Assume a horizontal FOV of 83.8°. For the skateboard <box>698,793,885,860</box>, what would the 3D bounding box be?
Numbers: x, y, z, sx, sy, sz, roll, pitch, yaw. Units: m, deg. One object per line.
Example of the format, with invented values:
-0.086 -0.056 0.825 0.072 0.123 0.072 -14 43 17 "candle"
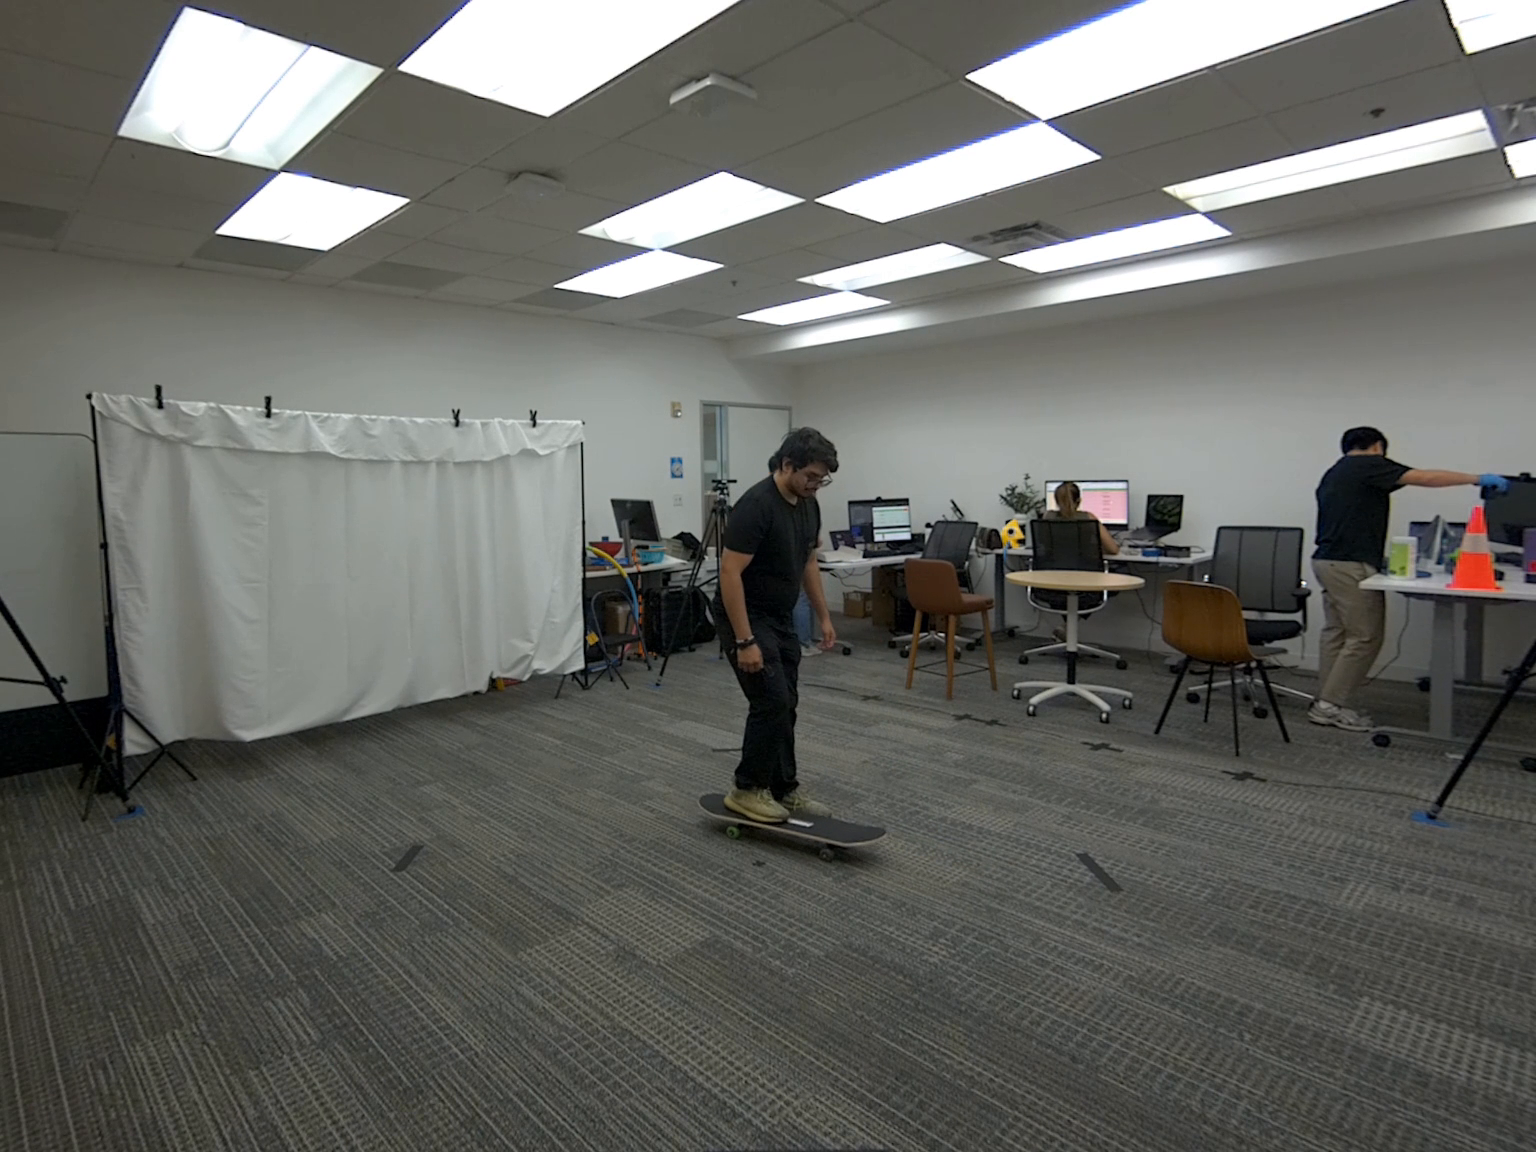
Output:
0.078 0.971 3.293 0.806 0.110 0.189 2 6 31 "skateboard"
